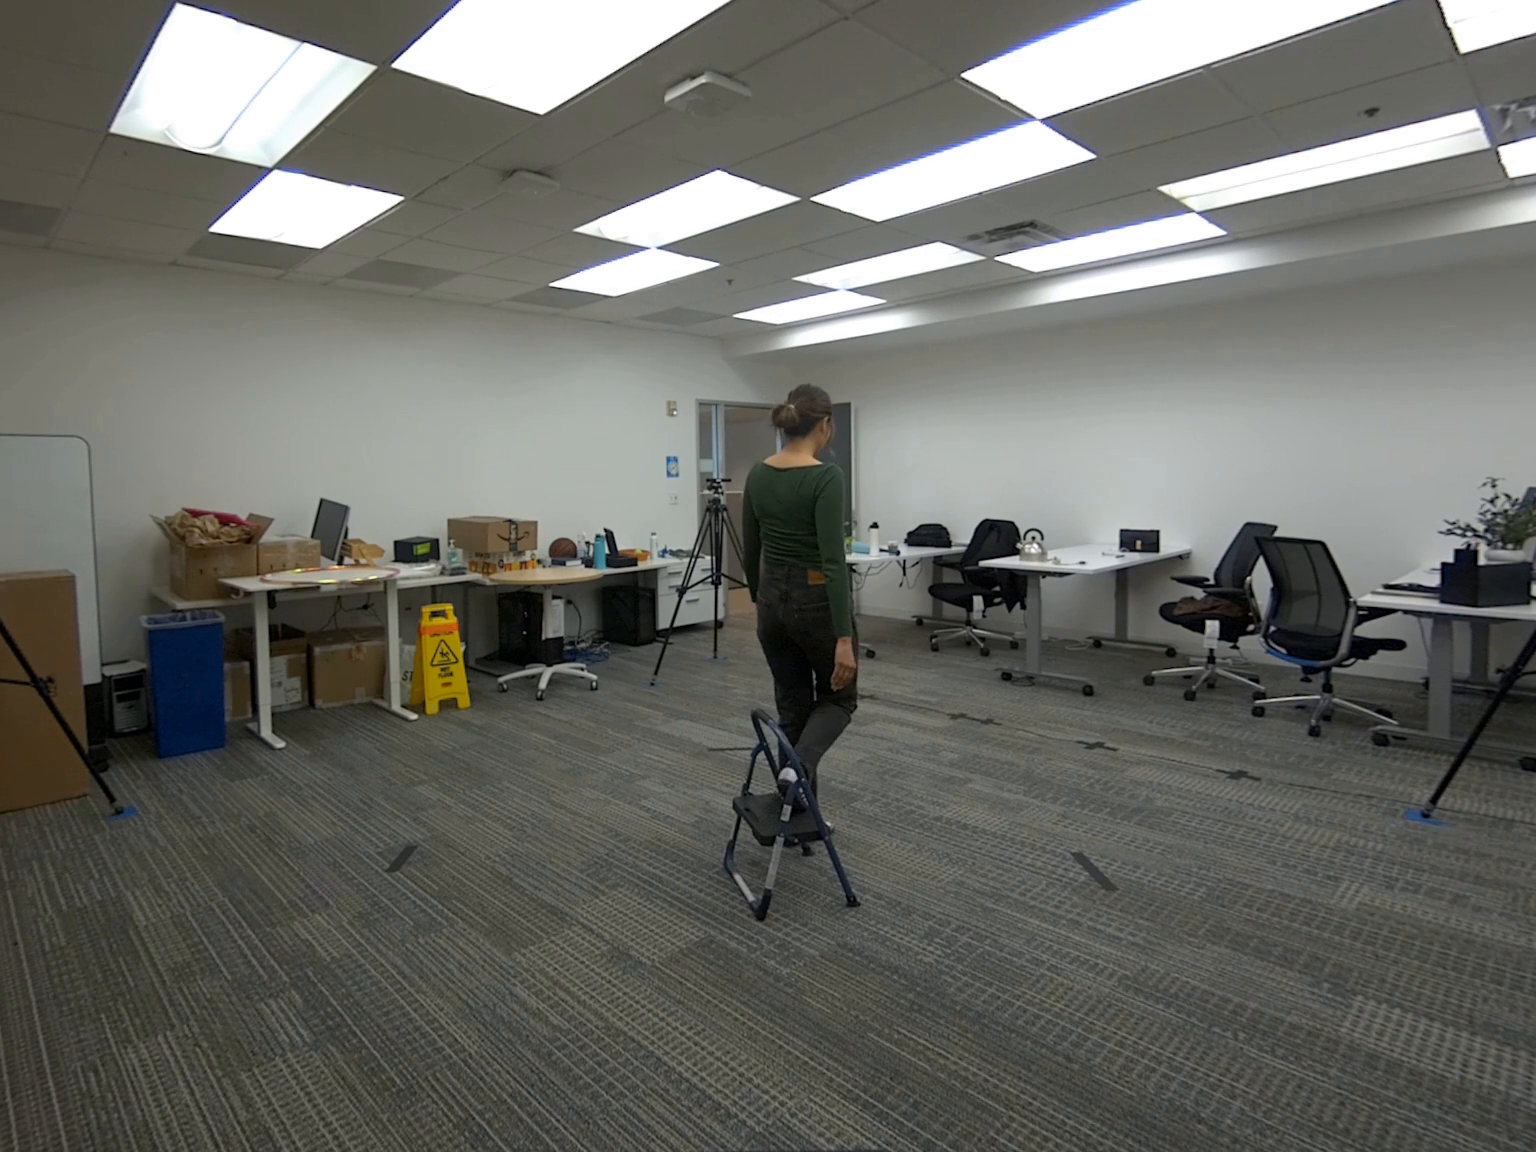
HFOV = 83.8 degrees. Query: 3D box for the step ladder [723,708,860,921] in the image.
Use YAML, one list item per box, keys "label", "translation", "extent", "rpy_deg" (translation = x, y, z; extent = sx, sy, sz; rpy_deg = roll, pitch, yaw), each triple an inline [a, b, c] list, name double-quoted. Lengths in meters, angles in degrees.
- label: "step ladder"
  translation: [0.062, 0.762, 2.919]
  extent: [0.344, 0.604, 0.439]
  rpy_deg: [-2, 4, -18]
